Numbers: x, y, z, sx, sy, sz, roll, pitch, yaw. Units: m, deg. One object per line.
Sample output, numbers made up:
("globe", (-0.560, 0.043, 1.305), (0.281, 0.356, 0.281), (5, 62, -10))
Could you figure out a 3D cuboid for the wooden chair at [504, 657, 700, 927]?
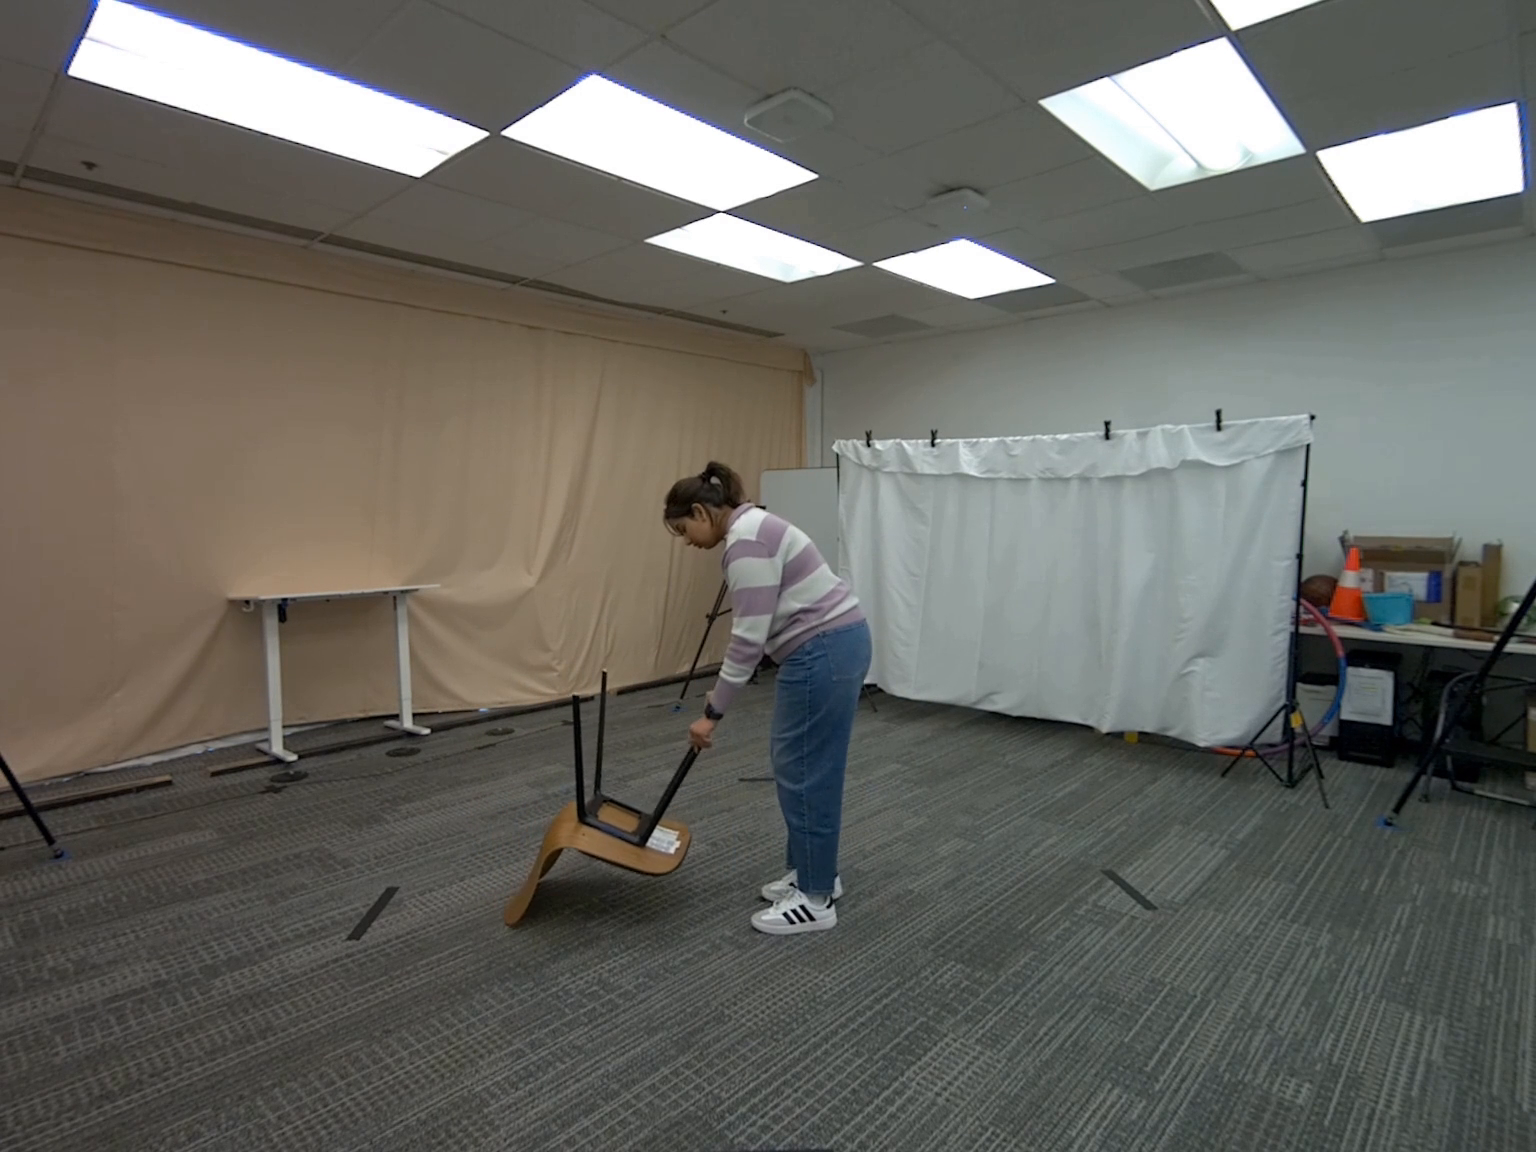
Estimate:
("wooden chair", (-0.520, 0.850, 2.921), (0.526, 0.876, 0.476), (21, 3, 3))
